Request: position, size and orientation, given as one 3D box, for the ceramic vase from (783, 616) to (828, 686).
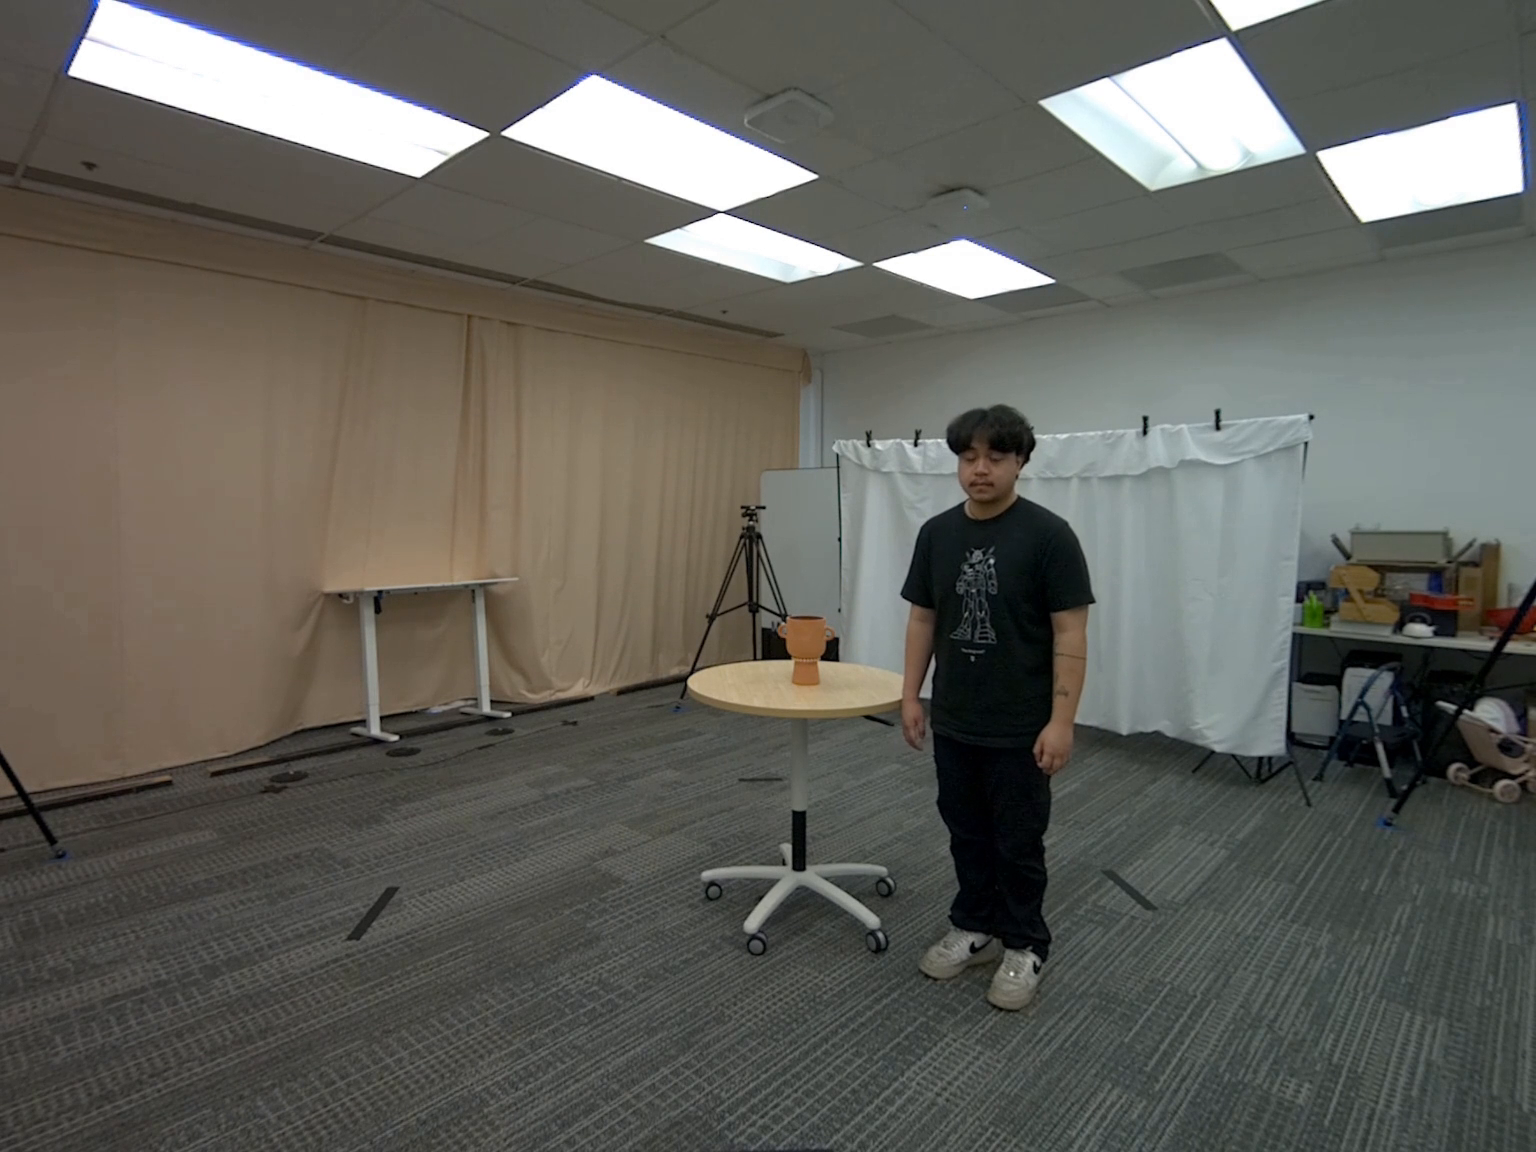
[{"bbox_3d":[0.131,0.254,2.844,0.131,0.219,0.163,-1,4,-29],"label":"ceramic vase"}]
